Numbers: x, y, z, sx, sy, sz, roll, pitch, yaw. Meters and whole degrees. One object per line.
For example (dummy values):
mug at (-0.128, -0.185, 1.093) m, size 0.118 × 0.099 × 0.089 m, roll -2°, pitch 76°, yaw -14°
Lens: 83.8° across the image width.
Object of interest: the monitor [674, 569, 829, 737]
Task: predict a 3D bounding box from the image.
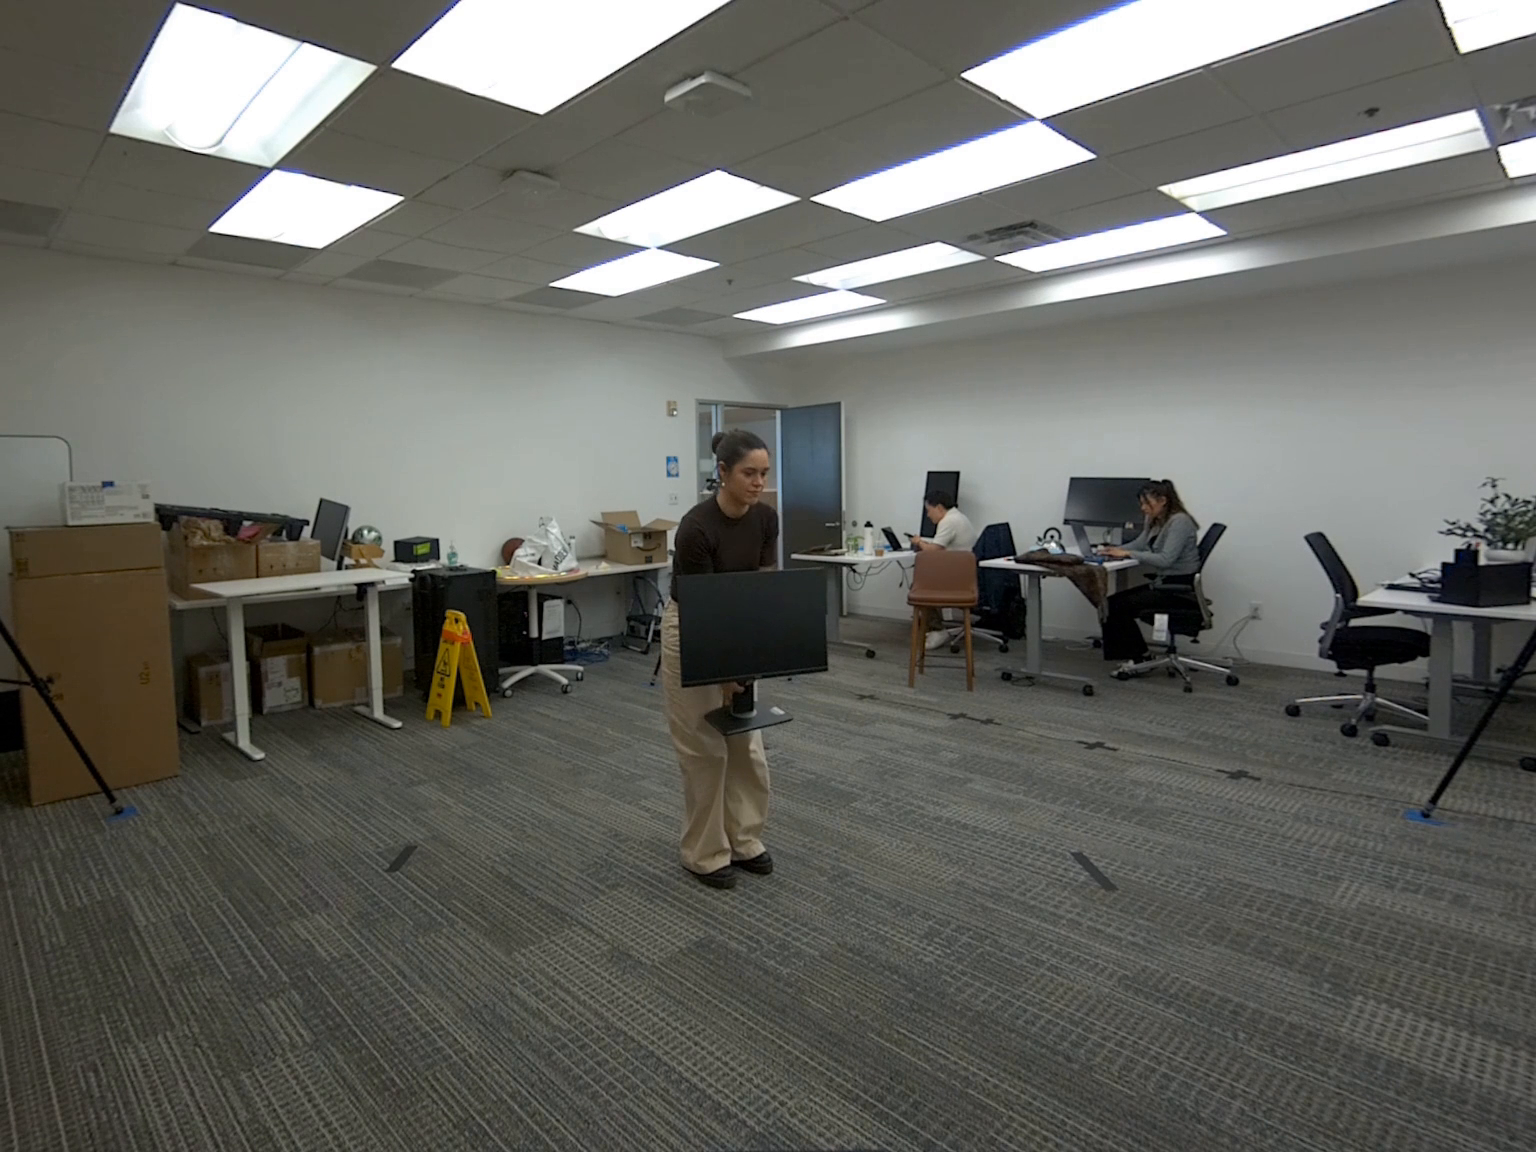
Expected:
monitor at (-0.073, 0.249, 2.840) m, size 0.527 × 0.517 × 0.193 m, roll -5°, pitch 15°, yaw -28°
